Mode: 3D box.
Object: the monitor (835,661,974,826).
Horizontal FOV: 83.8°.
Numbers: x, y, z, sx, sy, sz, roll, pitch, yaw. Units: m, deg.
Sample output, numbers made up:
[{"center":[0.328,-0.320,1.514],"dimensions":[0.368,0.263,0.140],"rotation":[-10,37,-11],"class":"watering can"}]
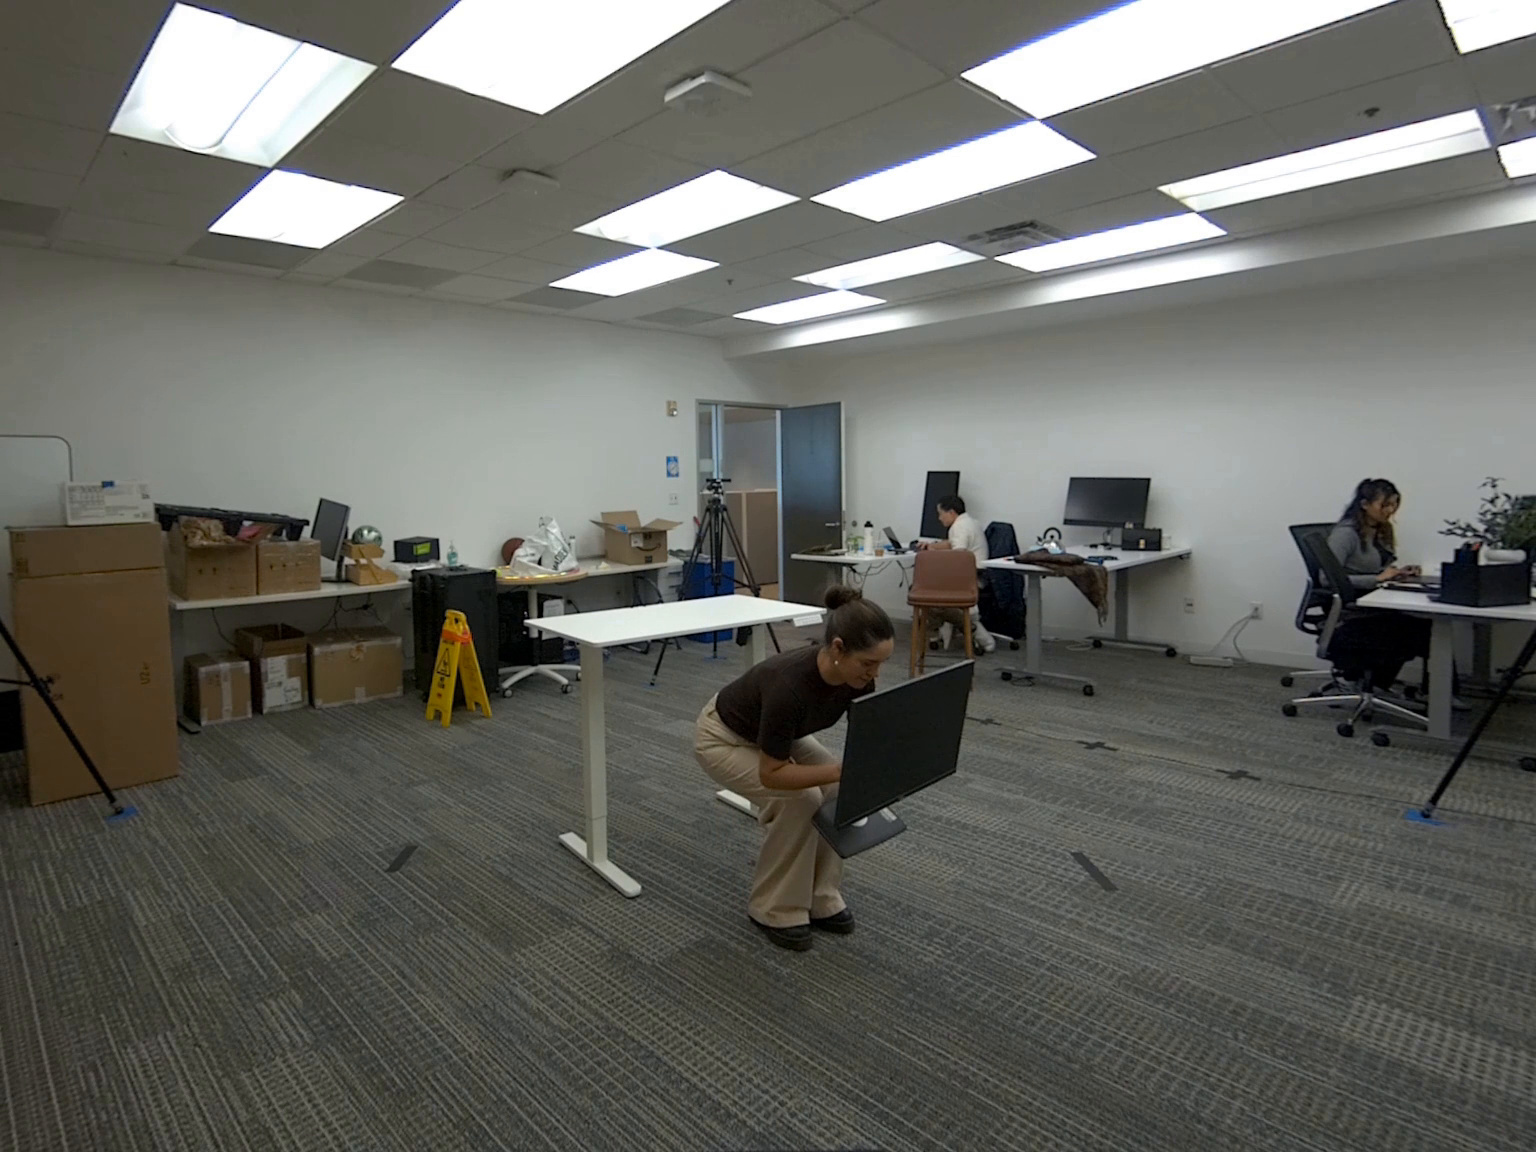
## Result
[{"center":[0.330,0.502,2.342],"dimensions":[0.526,0.516,0.194],"rotation":[-11,37,-45],"class":"monitor"}]
